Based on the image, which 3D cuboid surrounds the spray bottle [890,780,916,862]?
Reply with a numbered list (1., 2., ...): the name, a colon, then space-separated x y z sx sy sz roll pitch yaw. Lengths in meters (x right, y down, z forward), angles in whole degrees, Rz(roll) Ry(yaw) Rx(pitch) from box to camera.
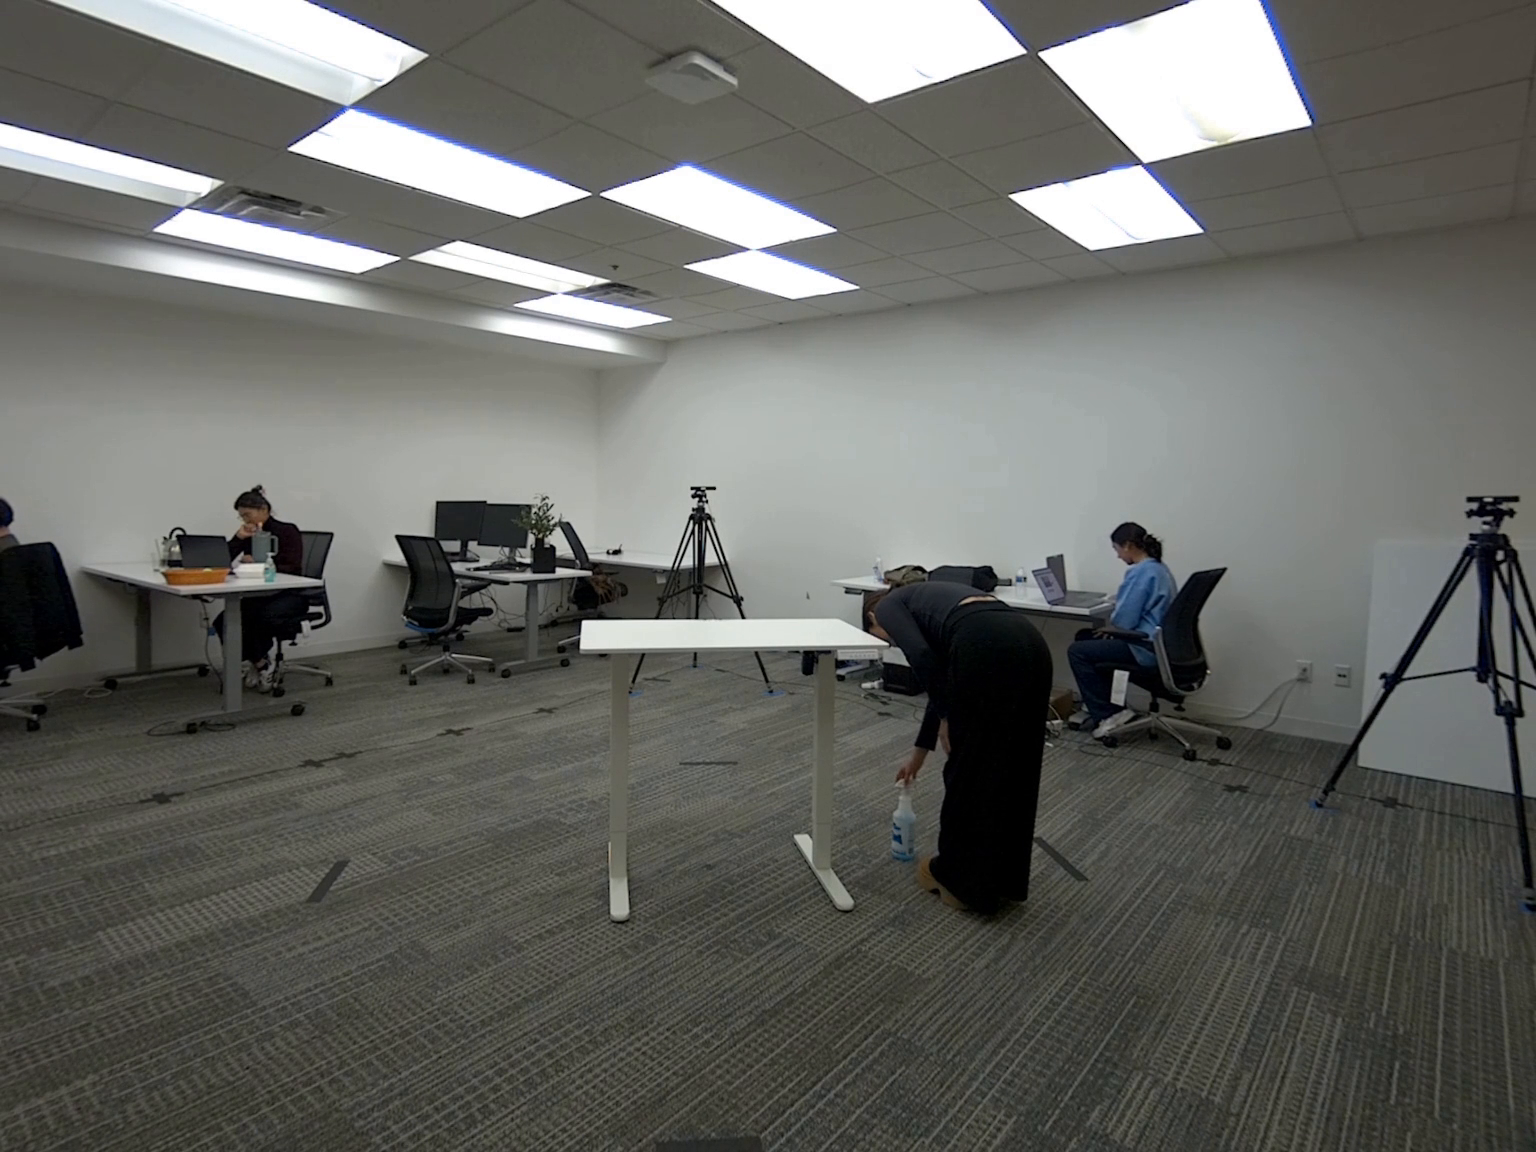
1. spray bottle: 0.516 0.920 3.247 0.092 0.297 0.085 4 3 25
